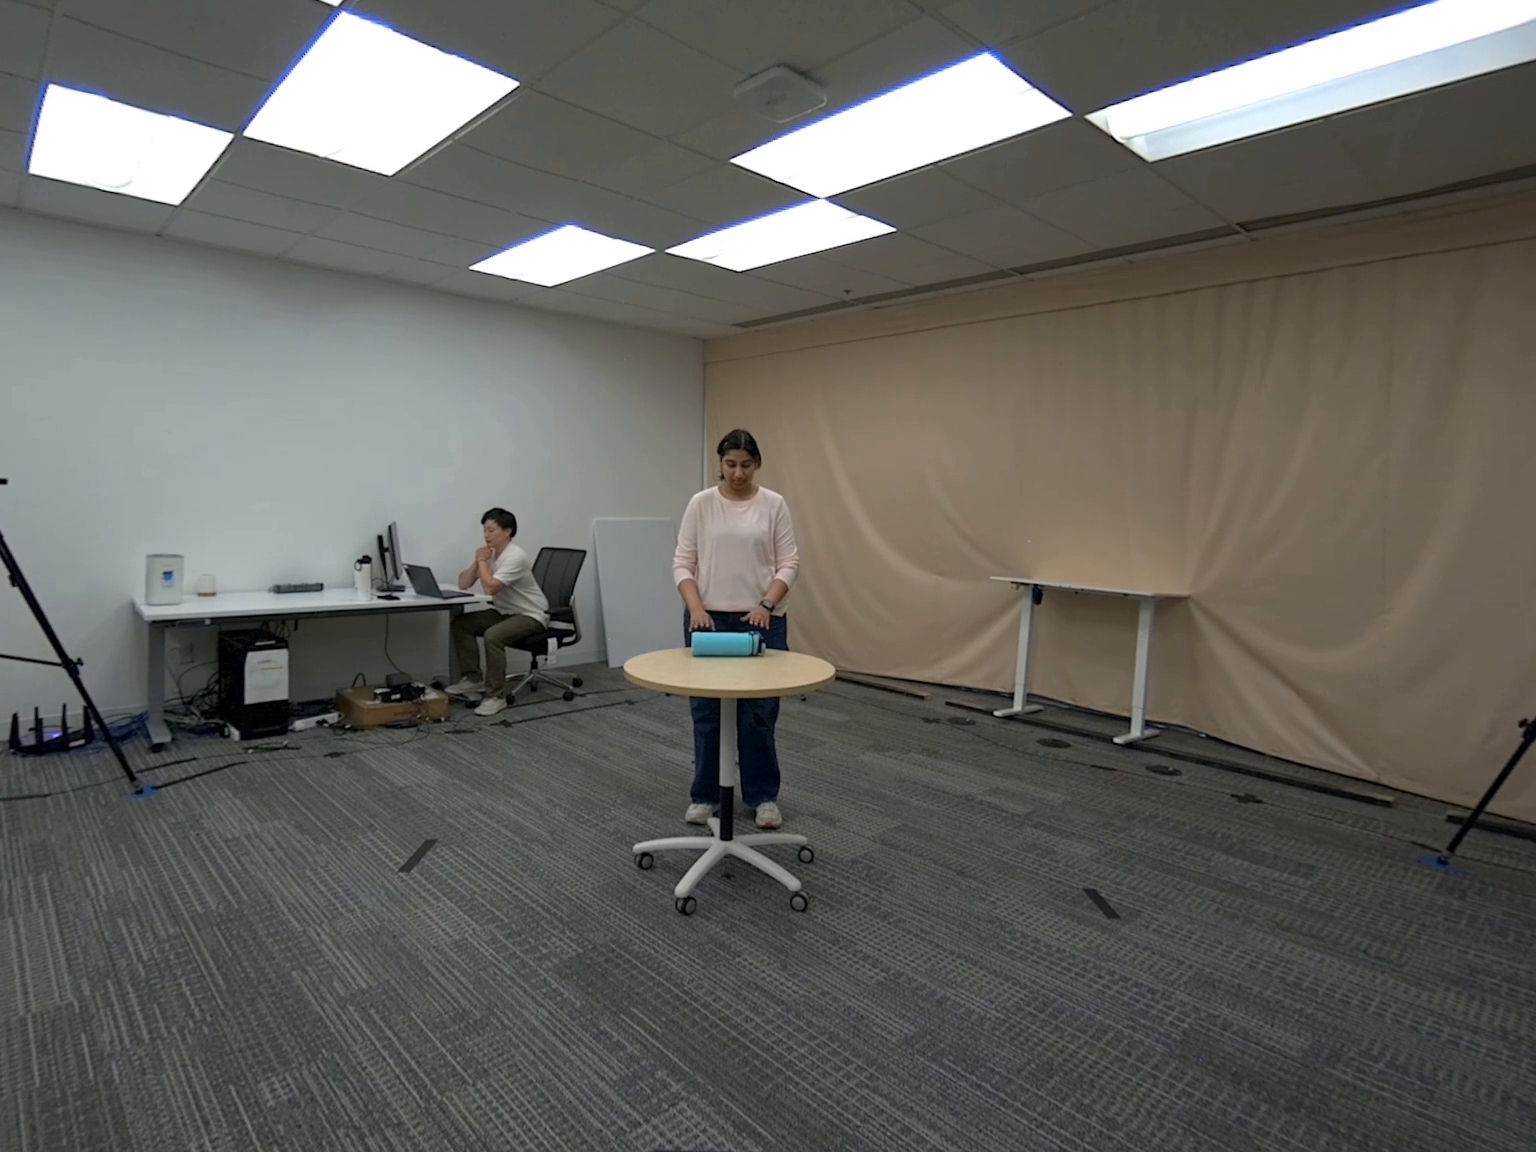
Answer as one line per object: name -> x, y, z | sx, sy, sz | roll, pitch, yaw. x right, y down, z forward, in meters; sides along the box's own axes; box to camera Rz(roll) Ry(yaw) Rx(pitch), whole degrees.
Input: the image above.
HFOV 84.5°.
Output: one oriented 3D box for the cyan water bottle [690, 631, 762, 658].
cyan water bottle -> -0.159, 0.261, 3.244 | 0.282, 0.092, 0.093 | -1, 4, -4
